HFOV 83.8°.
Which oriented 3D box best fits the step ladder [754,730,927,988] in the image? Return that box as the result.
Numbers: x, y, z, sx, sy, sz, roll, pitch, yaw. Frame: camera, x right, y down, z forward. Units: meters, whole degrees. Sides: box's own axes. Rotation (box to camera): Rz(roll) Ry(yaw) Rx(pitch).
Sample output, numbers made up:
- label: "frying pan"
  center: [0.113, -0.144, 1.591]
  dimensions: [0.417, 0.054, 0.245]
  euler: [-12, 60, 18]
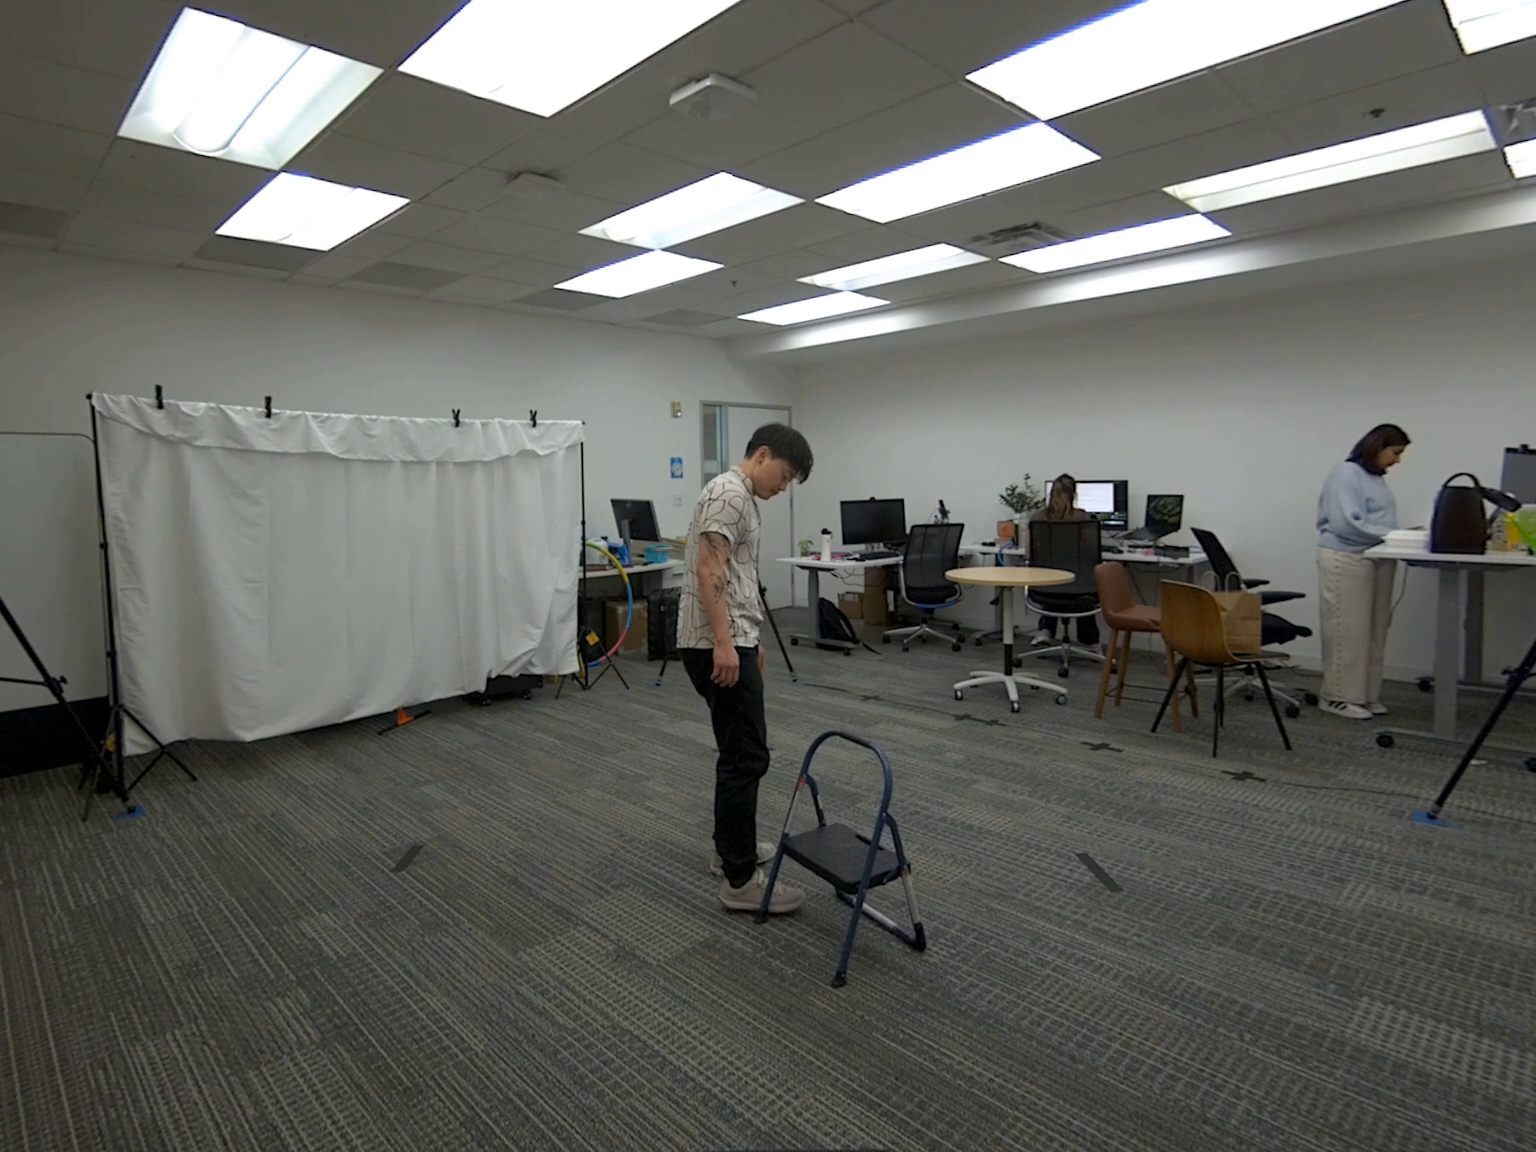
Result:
- label: "step ladder"
  center: [0.218, 0.799, 2.593]
  dimensions: [0.341, 0.604, 0.443]
  euler: [-4, 5, -32]
